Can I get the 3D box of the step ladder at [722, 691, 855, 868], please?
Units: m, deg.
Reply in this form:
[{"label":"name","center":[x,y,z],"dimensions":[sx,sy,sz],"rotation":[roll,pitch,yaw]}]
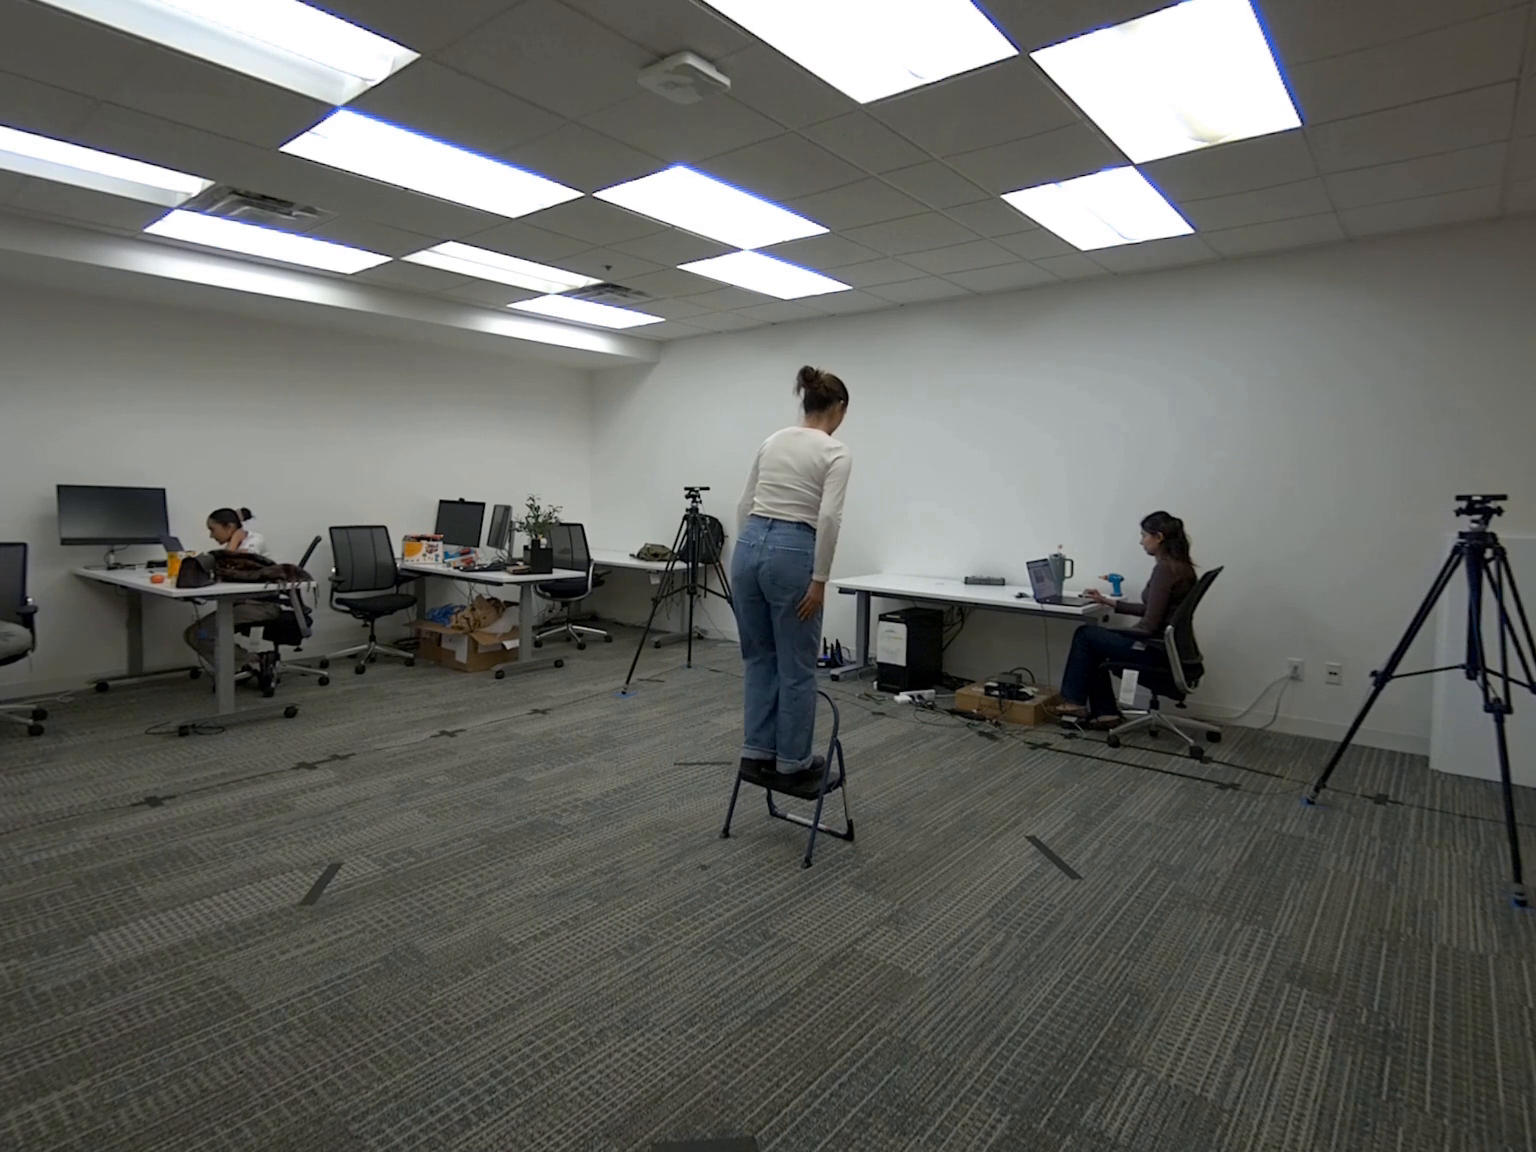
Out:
[{"label":"step ladder","center":[0.078,0.740,3.376],"dimensions":[0.445,0.604,0.339],"rotation":[4,5,38]}]
